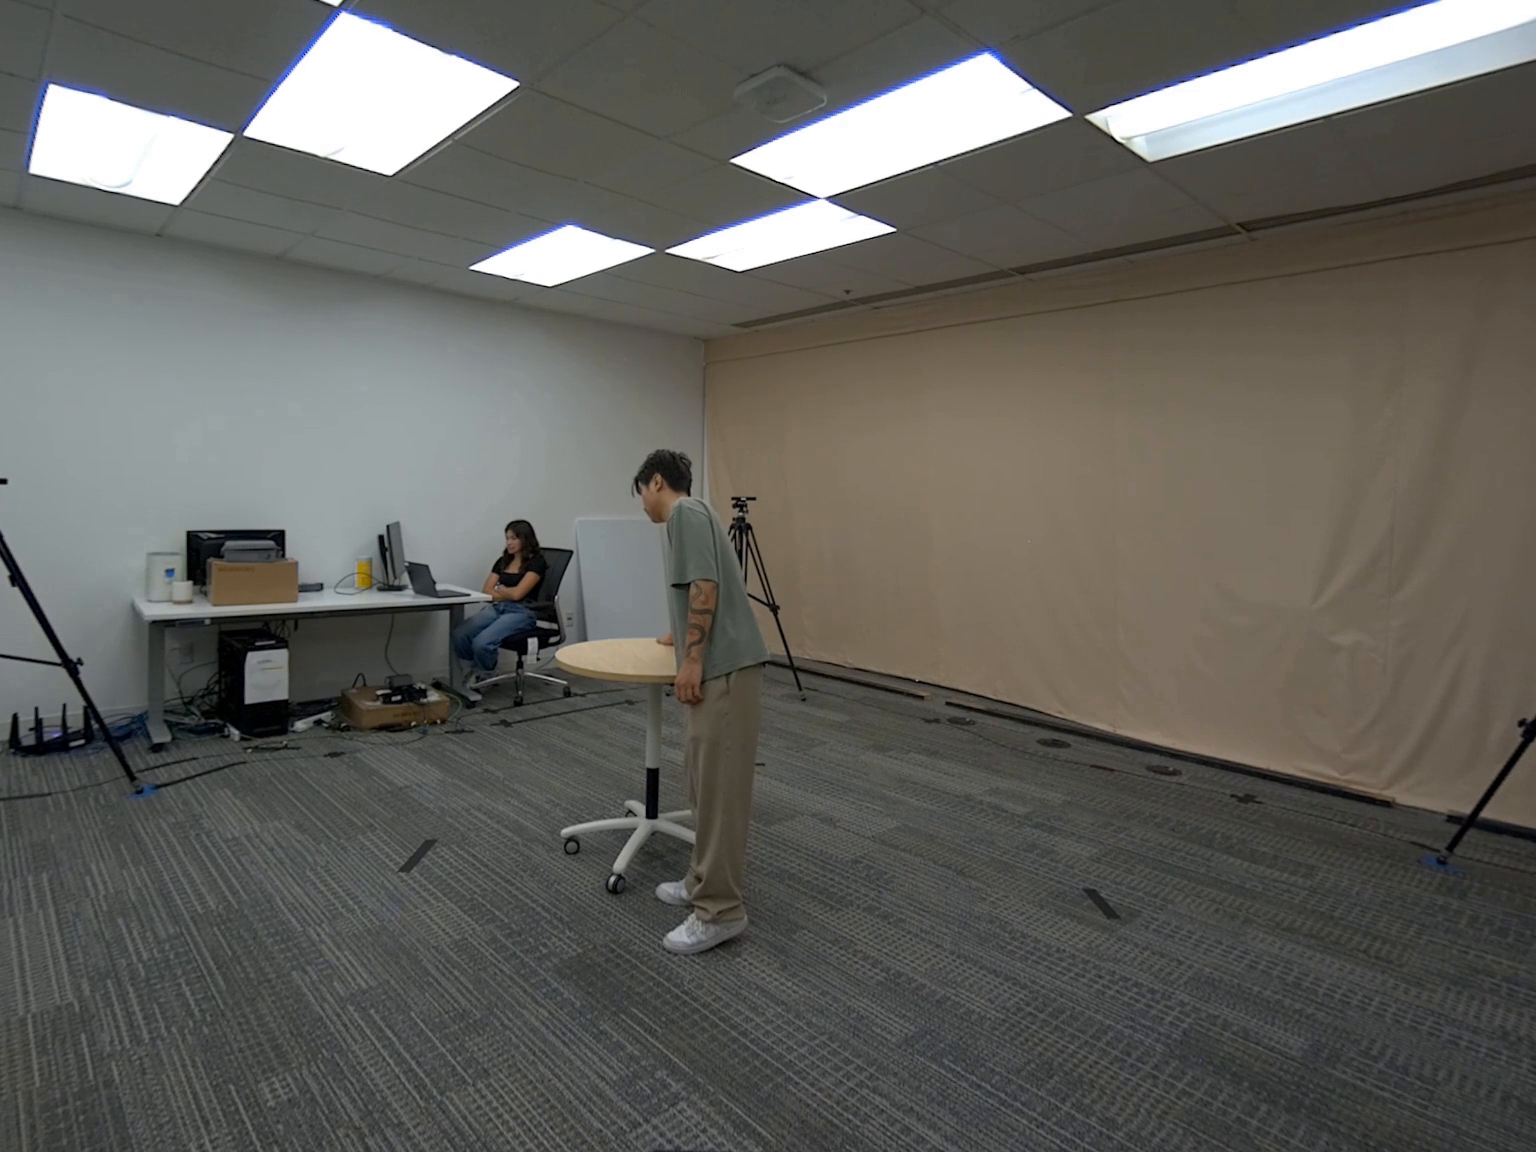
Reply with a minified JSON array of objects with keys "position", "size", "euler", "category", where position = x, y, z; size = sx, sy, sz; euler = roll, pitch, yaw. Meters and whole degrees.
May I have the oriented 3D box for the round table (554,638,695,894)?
[{"position":[-0.460,0.698,3.277],"size":[0.763,0.792,0.766],"euler":[1,4,-1],"category":"round table"}]
